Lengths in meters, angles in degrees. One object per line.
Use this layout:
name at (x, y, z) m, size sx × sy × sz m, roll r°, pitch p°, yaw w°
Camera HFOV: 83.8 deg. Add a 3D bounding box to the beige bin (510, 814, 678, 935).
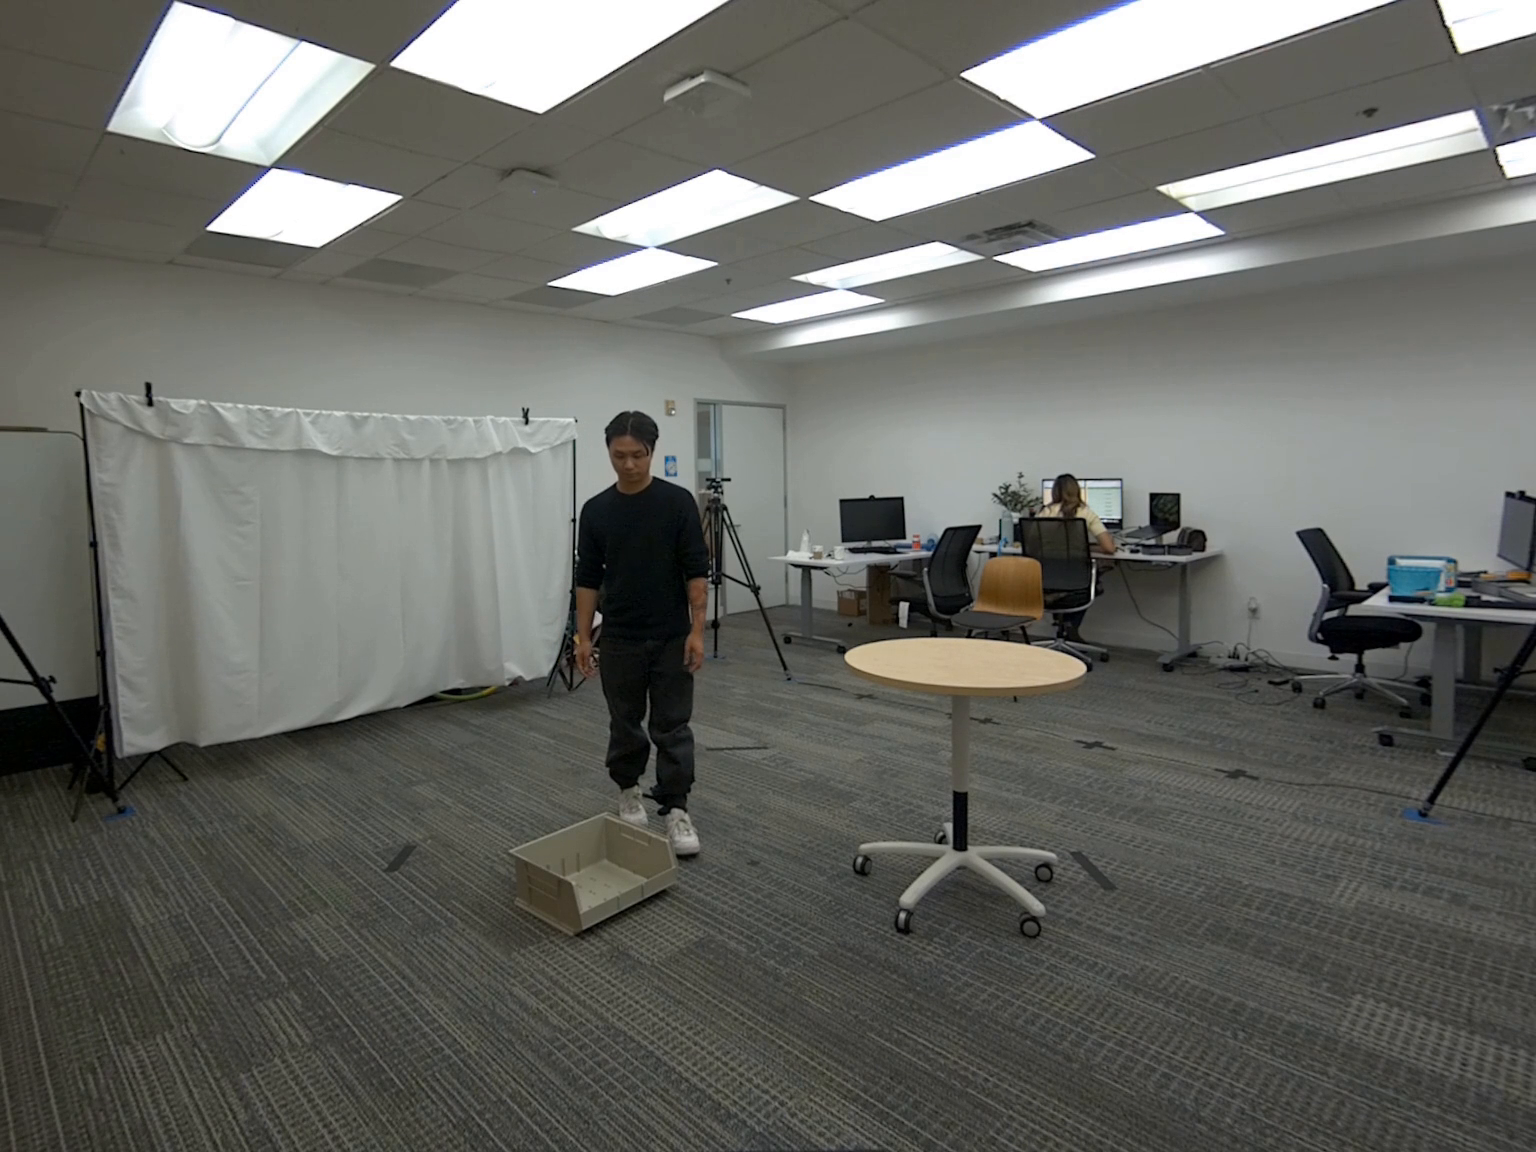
beige bin at (-0.583, 0.993, 2.866) m, size 0.389 × 0.188 × 0.412 m, roll 4°, pitch 8°, yaw 41°
